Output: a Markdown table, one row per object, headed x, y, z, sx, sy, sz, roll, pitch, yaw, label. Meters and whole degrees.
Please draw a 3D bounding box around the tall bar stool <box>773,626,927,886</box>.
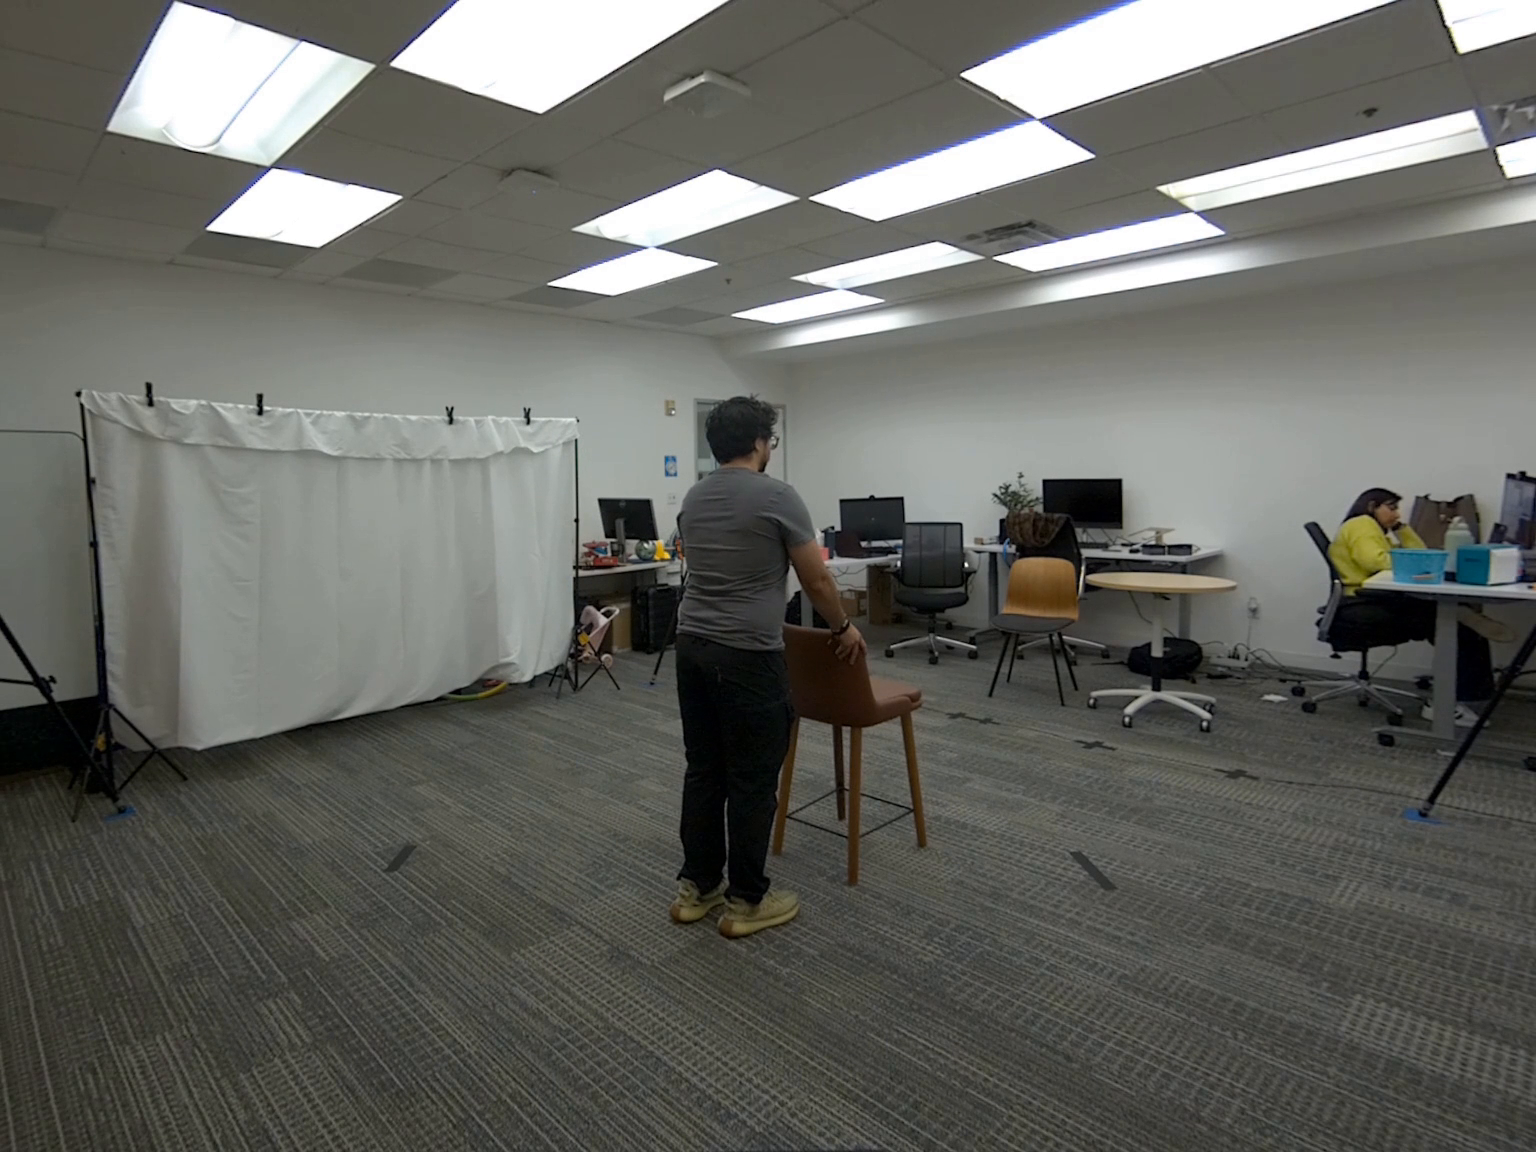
| x | y | z | sx | sy | sz | roll | pitch | yaw | label |
| --- | --- | --- | --- | --- | --- | --- | --- | --- | --- |
| 0.288 | 0.590 | 3.170 | 0.470 | 0.885 | 0.456 | 3 | 8 | 43 | tall bar stool |
